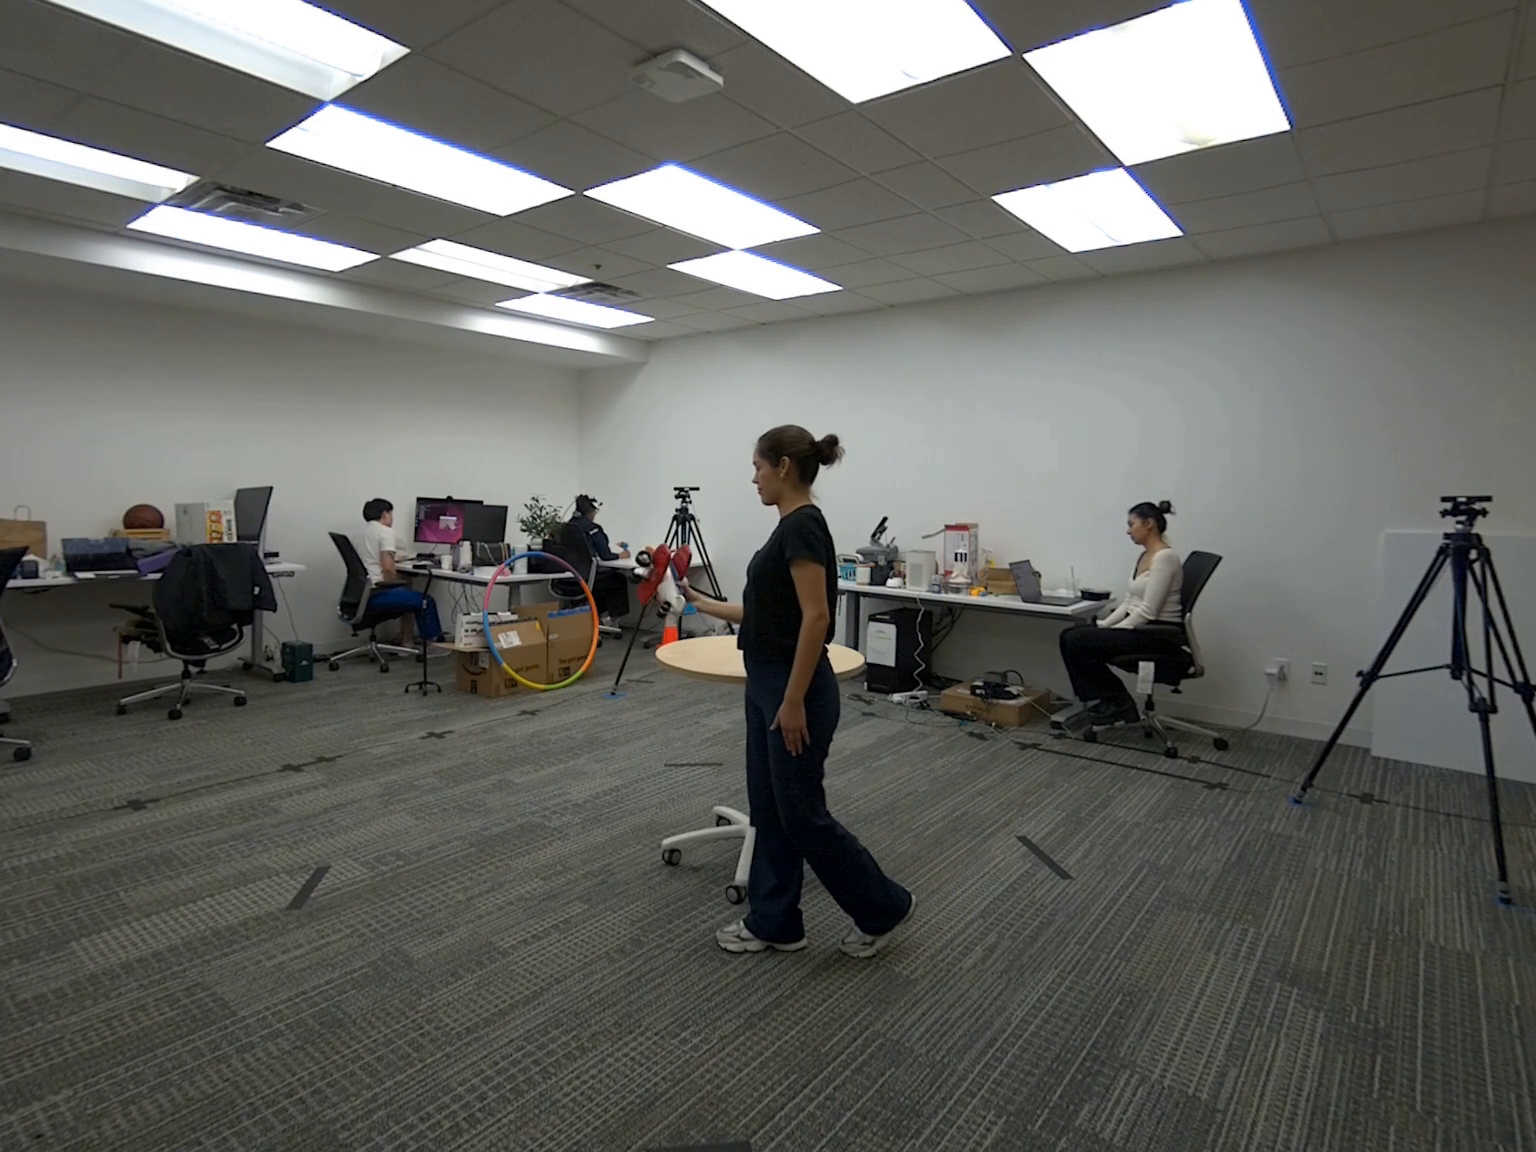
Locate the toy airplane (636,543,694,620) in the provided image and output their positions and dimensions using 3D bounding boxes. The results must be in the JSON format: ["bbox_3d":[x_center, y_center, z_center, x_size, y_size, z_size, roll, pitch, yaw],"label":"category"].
[{"bbox_3d":[-0.326,0.034,2.780,0.153,0.261,0.255,-14,-6,-39],"label":"toy airplane"}]
